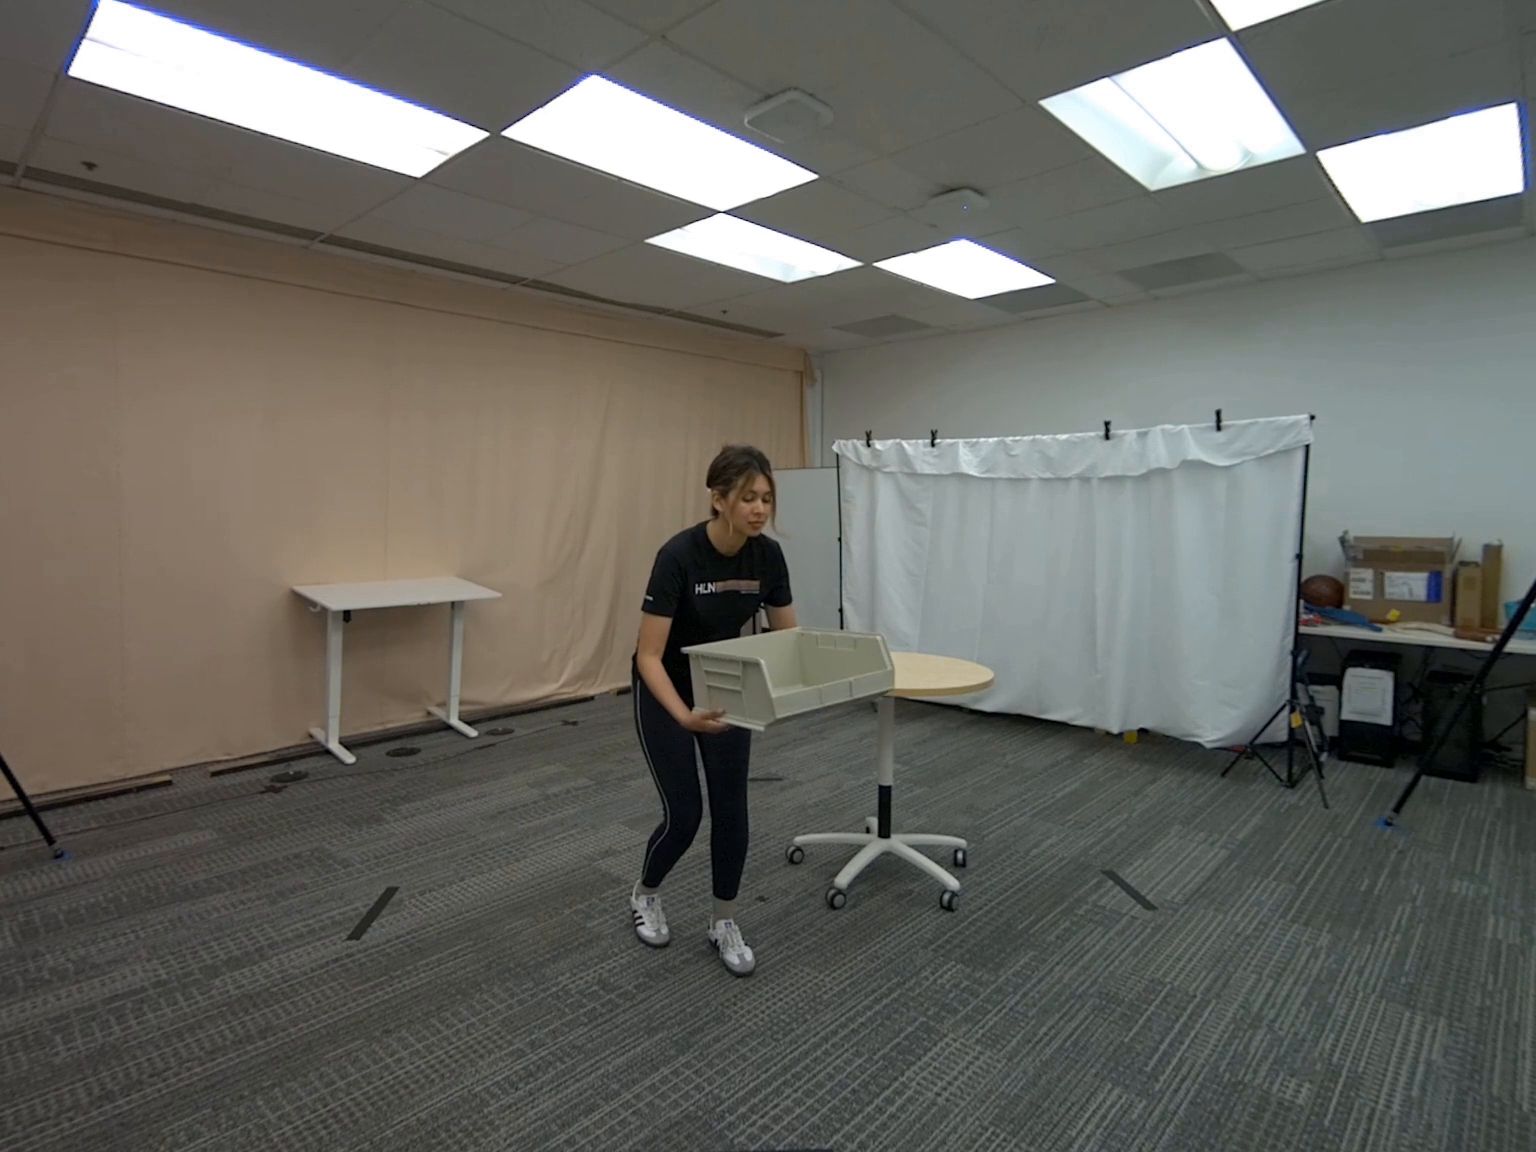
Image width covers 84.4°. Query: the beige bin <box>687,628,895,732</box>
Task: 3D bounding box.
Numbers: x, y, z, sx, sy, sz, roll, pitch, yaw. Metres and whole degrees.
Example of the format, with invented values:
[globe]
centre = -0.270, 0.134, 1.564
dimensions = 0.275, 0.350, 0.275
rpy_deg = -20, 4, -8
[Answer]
[beige bin]
centre = 0.066, 0.270, 2.225
dimensions = 0.410, 0.189, 0.389
rpy_deg = -7, 4, -37
